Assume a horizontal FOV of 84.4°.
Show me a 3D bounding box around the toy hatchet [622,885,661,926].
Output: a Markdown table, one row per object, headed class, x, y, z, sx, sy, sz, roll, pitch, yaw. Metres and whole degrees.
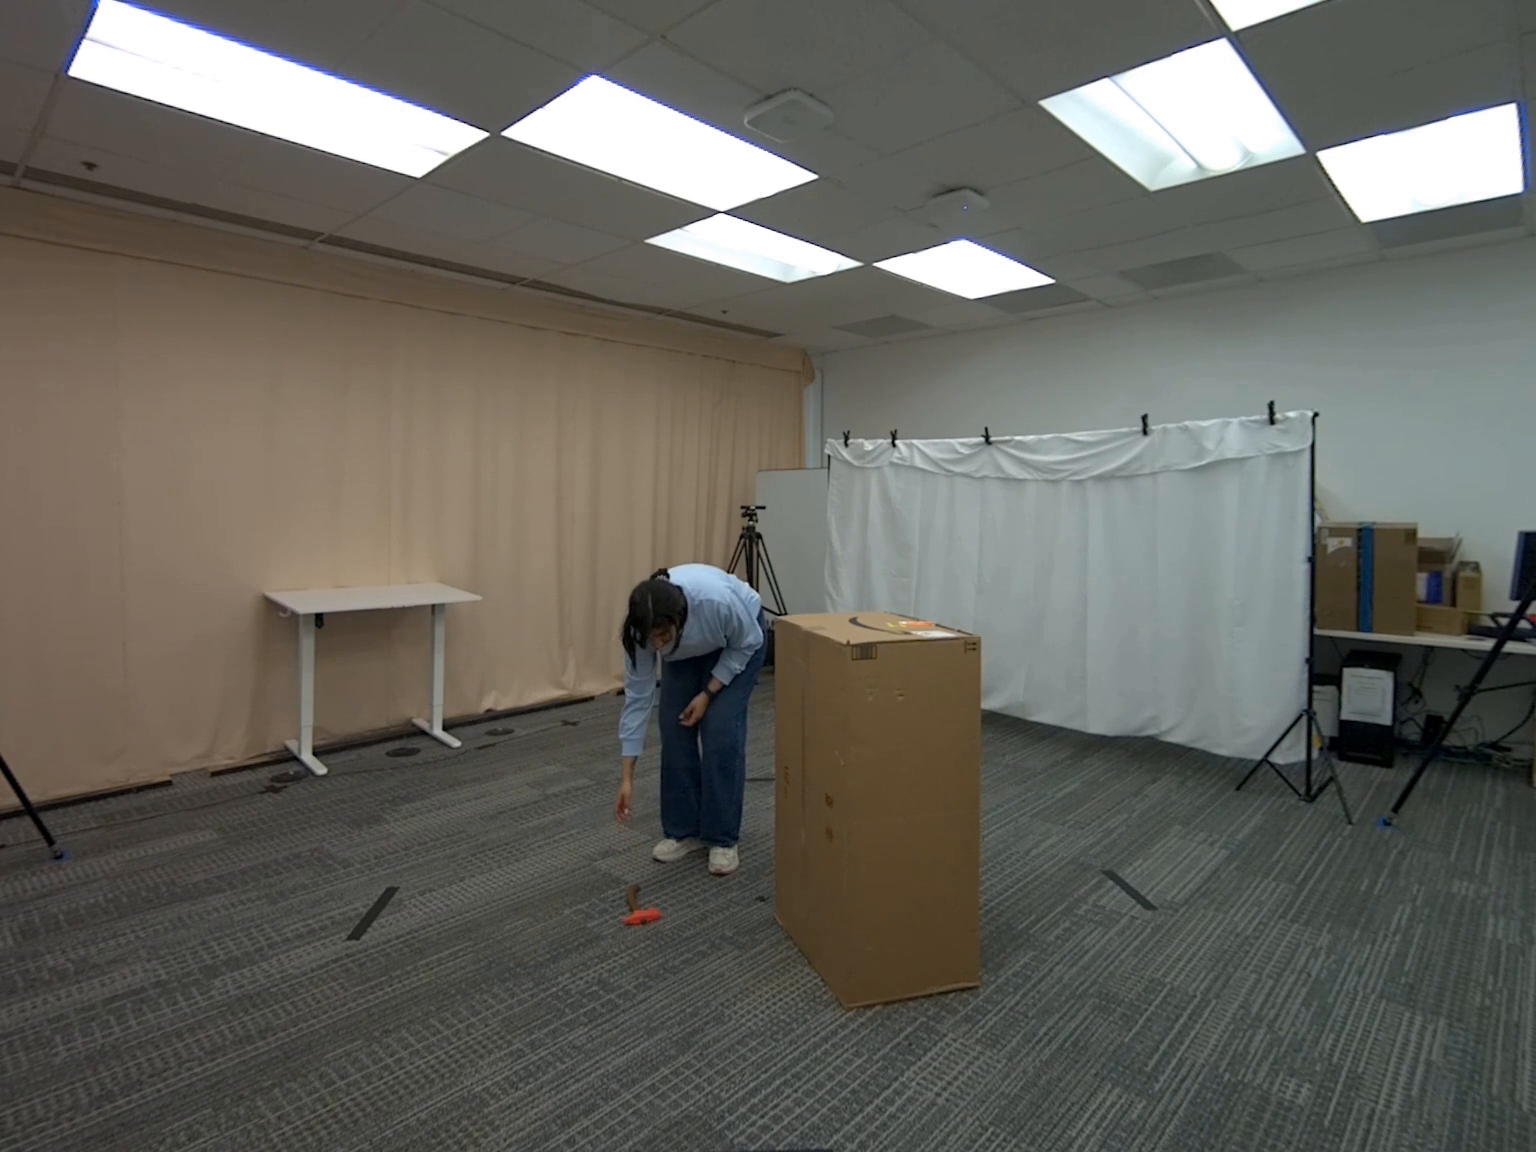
| class | x | y | z | sx | sy | sz | roll | pitch | yaw |
| --- | --- | --- | --- | --- | --- | --- | --- | --- | --- |
| toy hatchet | -0.431 | 1.136 | 2.937 | 0.131 | 0.029 | 0.271 | -2 | 4 | -4 |
